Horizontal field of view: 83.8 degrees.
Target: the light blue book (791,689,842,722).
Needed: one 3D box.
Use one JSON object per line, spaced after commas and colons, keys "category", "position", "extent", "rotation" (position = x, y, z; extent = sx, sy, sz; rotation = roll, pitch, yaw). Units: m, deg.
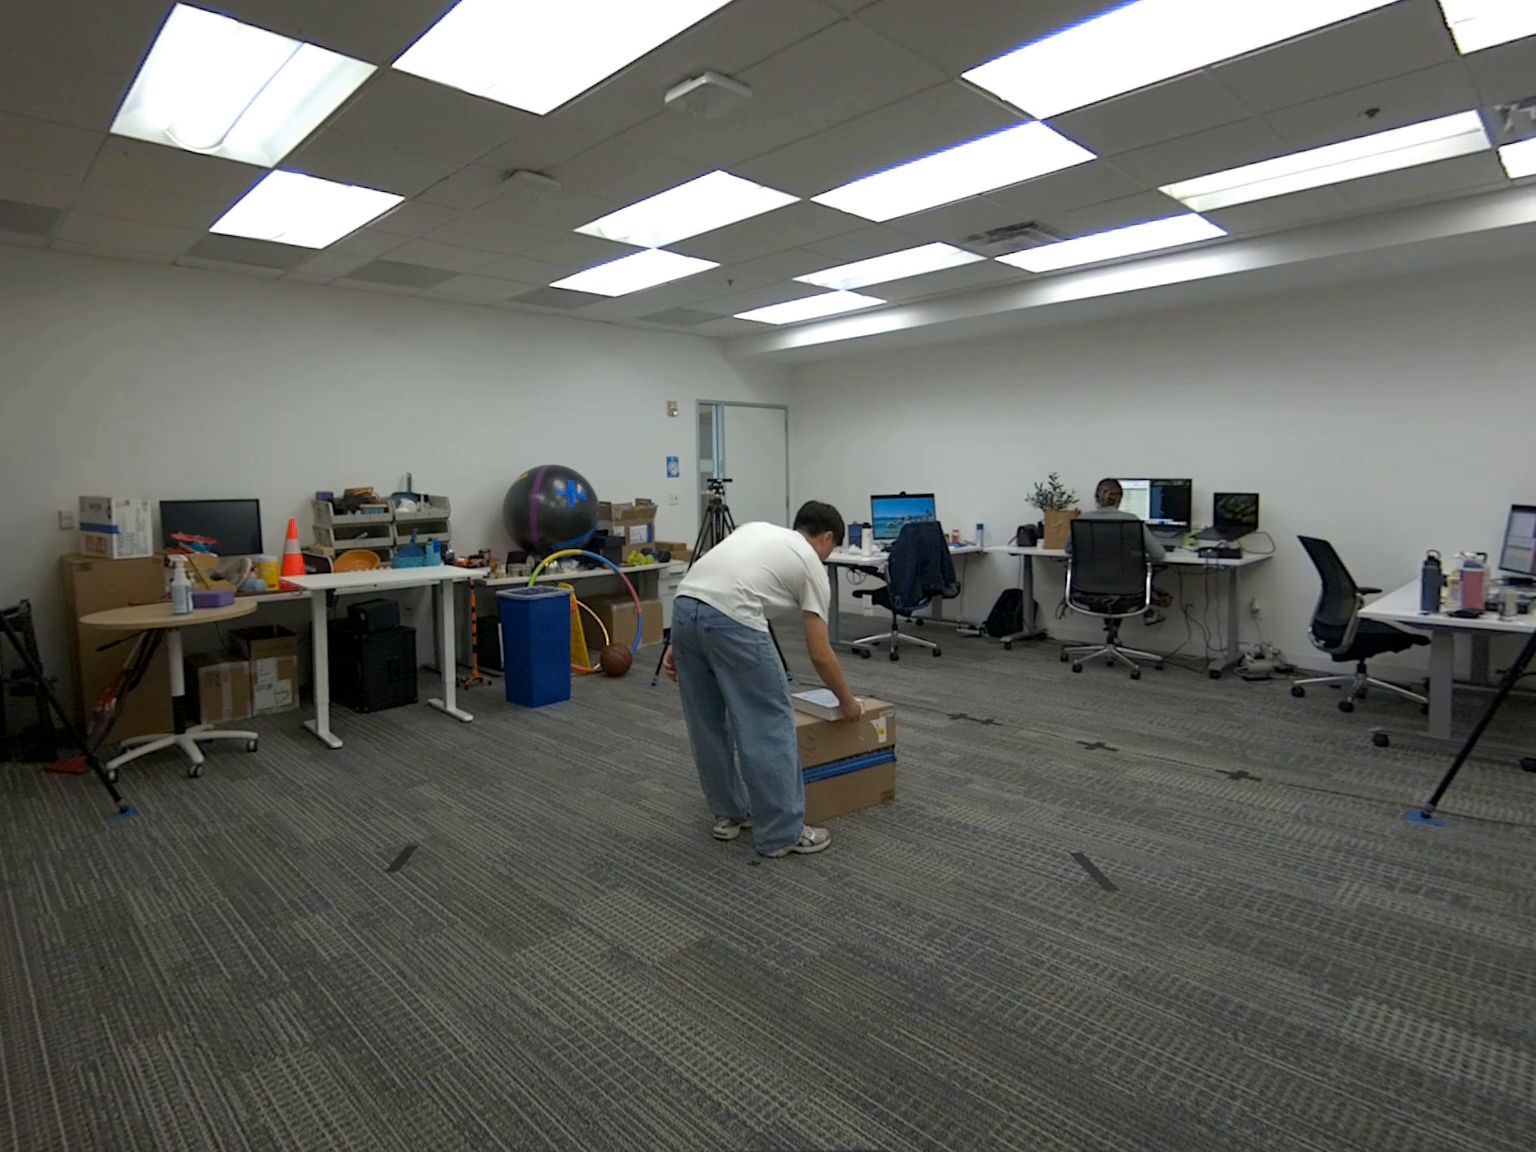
{"category": "light blue book", "position": [0.251, 0.539, 3.613], "extent": [0.187, 0.059, 0.268], "rotation": [-5, 7, -34]}
